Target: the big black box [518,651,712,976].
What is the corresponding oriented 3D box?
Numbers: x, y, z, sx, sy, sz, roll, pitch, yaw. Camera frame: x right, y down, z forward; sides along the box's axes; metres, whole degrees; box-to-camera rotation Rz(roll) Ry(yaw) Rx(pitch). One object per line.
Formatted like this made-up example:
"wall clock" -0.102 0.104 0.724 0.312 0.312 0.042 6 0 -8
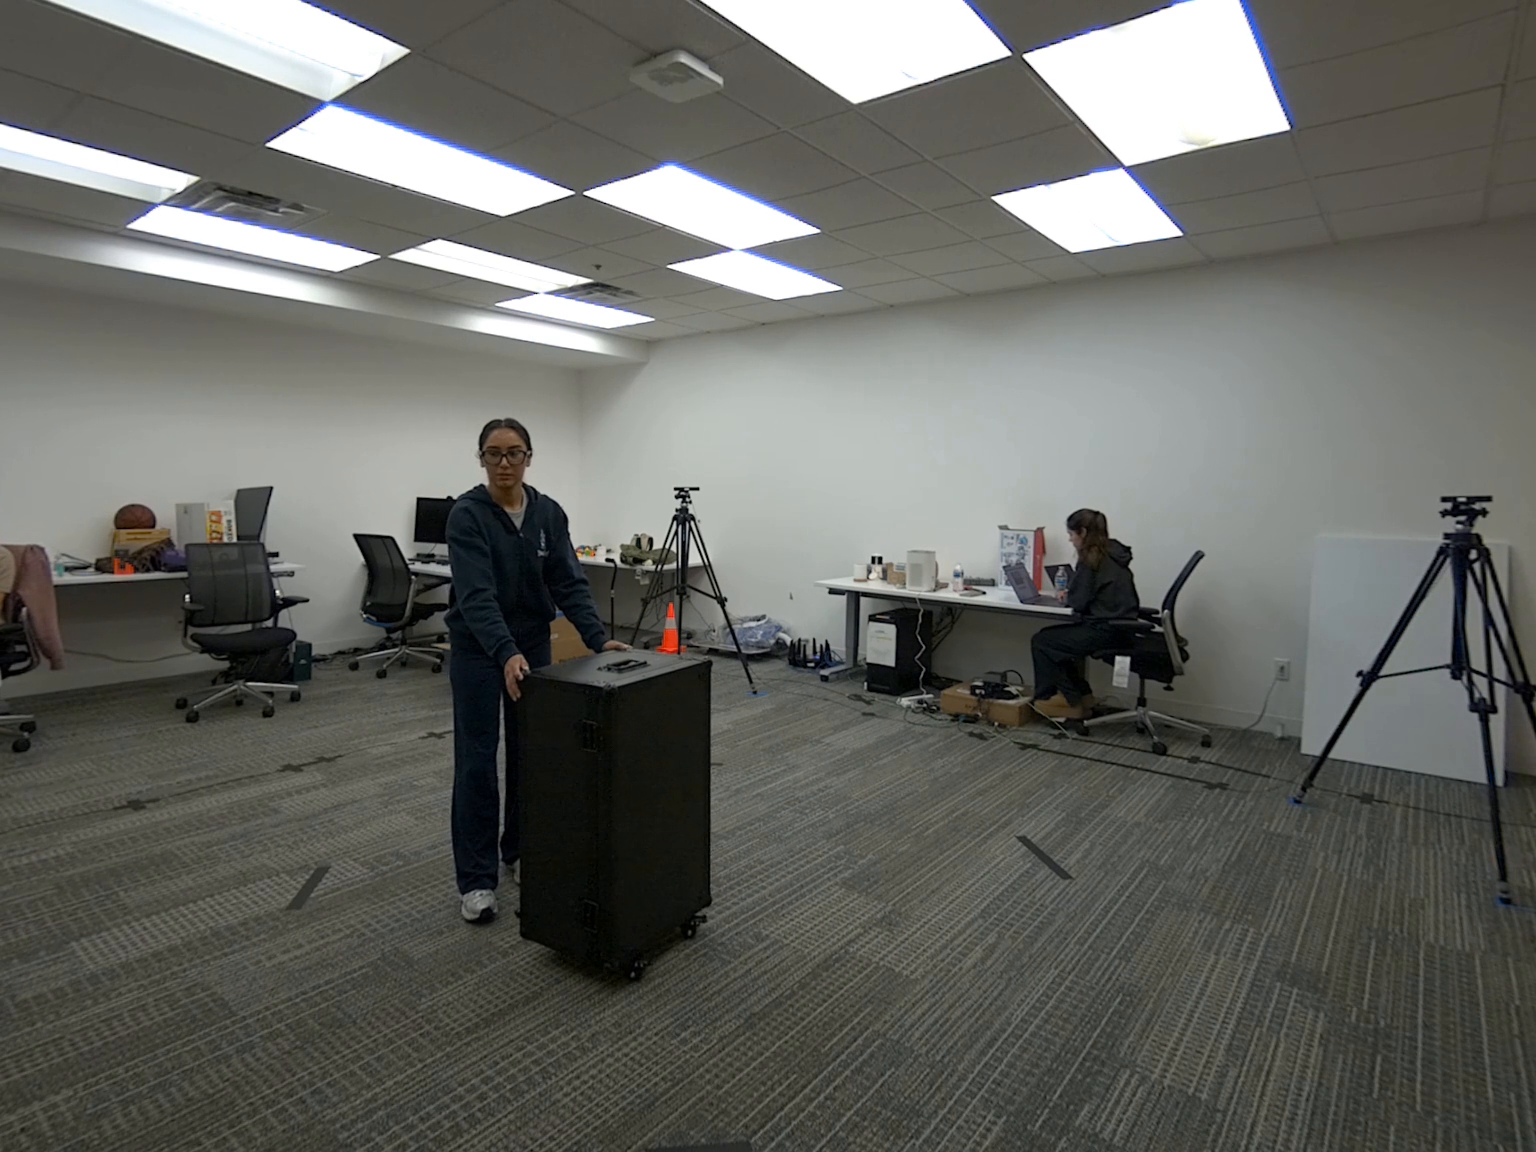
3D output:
"big black box" -0.469 0.689 2.572 0.408 0.860 0.507 0 3 33
